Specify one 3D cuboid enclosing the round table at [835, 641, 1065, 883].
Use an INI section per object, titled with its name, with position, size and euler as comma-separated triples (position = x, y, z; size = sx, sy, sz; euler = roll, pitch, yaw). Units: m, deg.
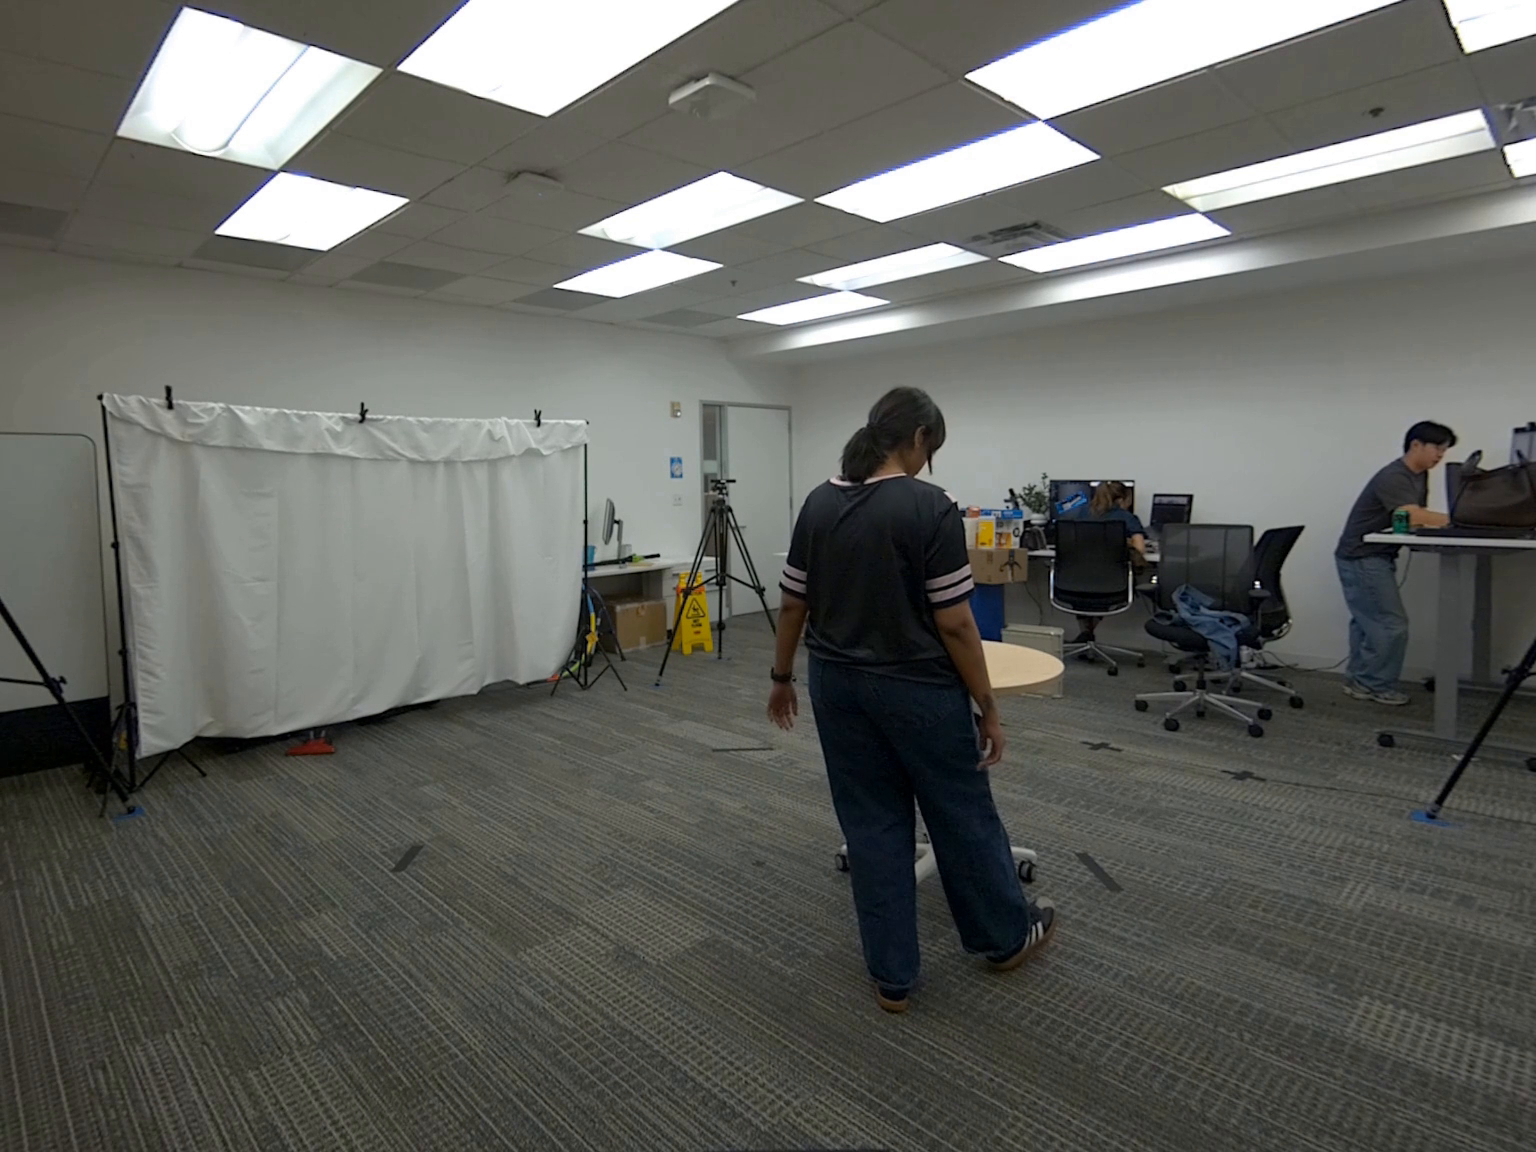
[round table]
position = 0.591, 0.676, 2.878
size = 0.763, 0.791, 0.768
euler = -1, 5, -2
